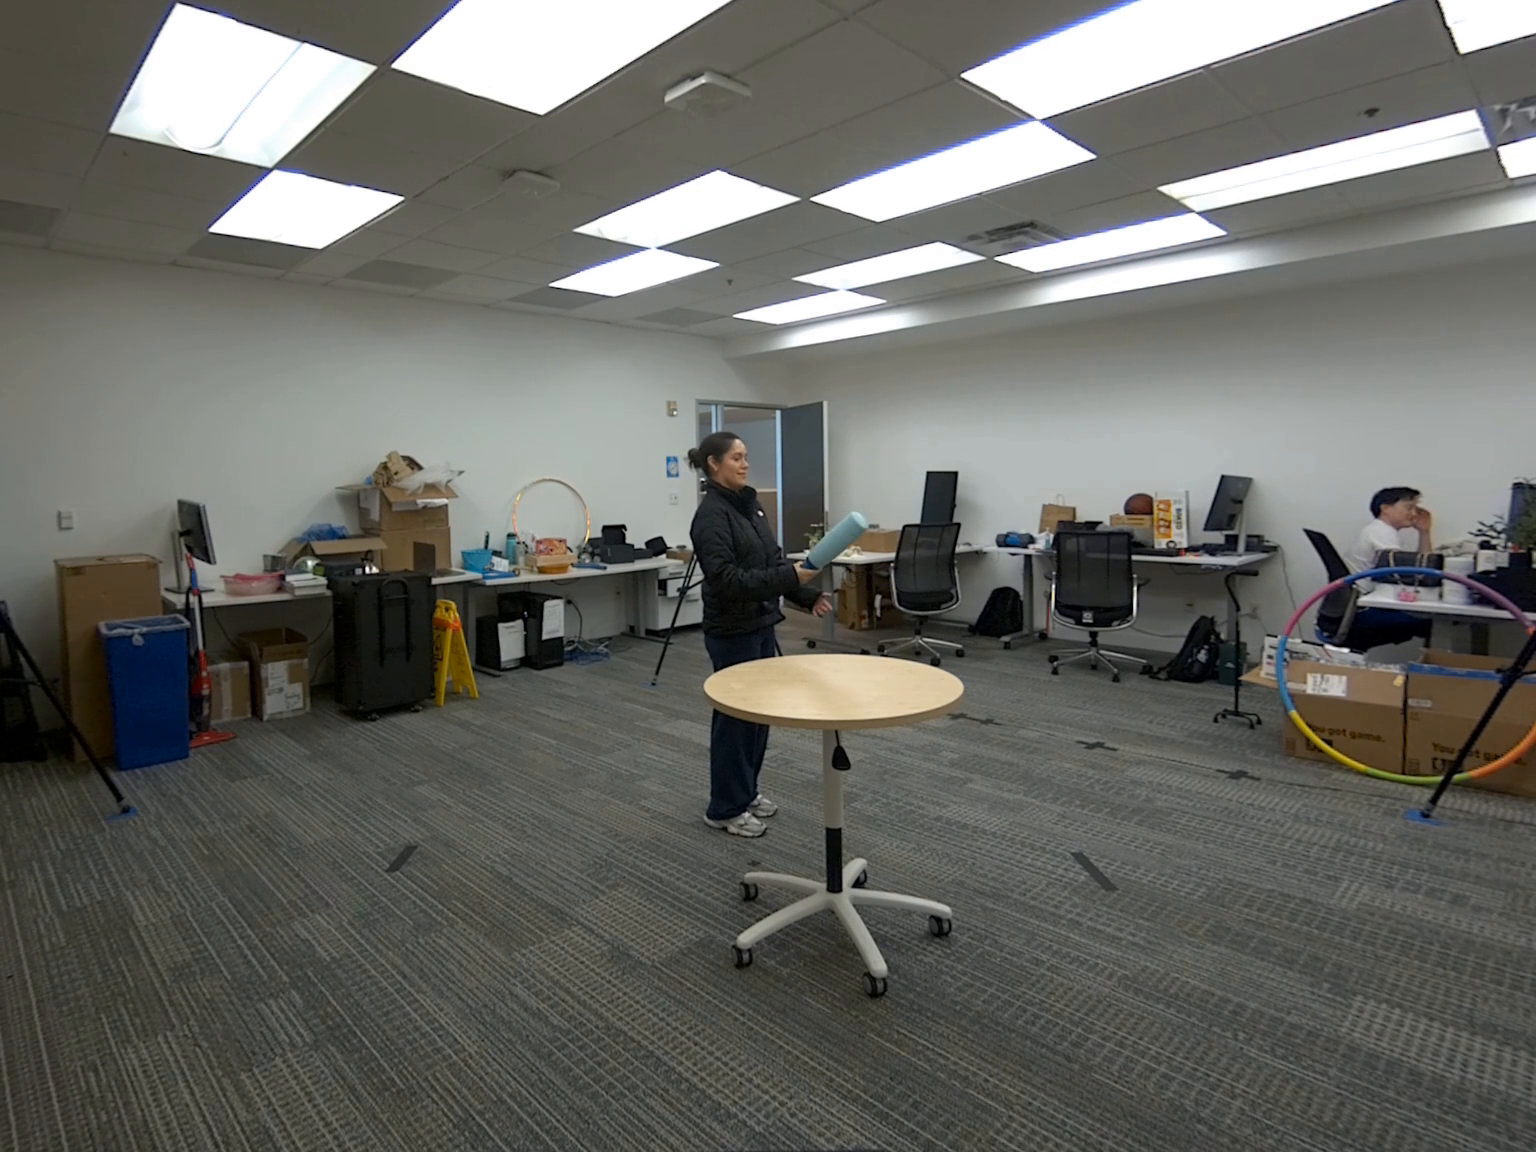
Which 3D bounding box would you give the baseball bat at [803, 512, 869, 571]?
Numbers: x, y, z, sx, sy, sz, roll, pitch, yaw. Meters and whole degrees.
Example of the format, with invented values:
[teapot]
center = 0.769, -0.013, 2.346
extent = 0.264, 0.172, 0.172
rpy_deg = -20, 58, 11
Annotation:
[baseball bat]
center = 0.166, -0.036, 3.204
extent = 0.543, 0.091, 0.087
rpy_deg = -44, -20, 29
